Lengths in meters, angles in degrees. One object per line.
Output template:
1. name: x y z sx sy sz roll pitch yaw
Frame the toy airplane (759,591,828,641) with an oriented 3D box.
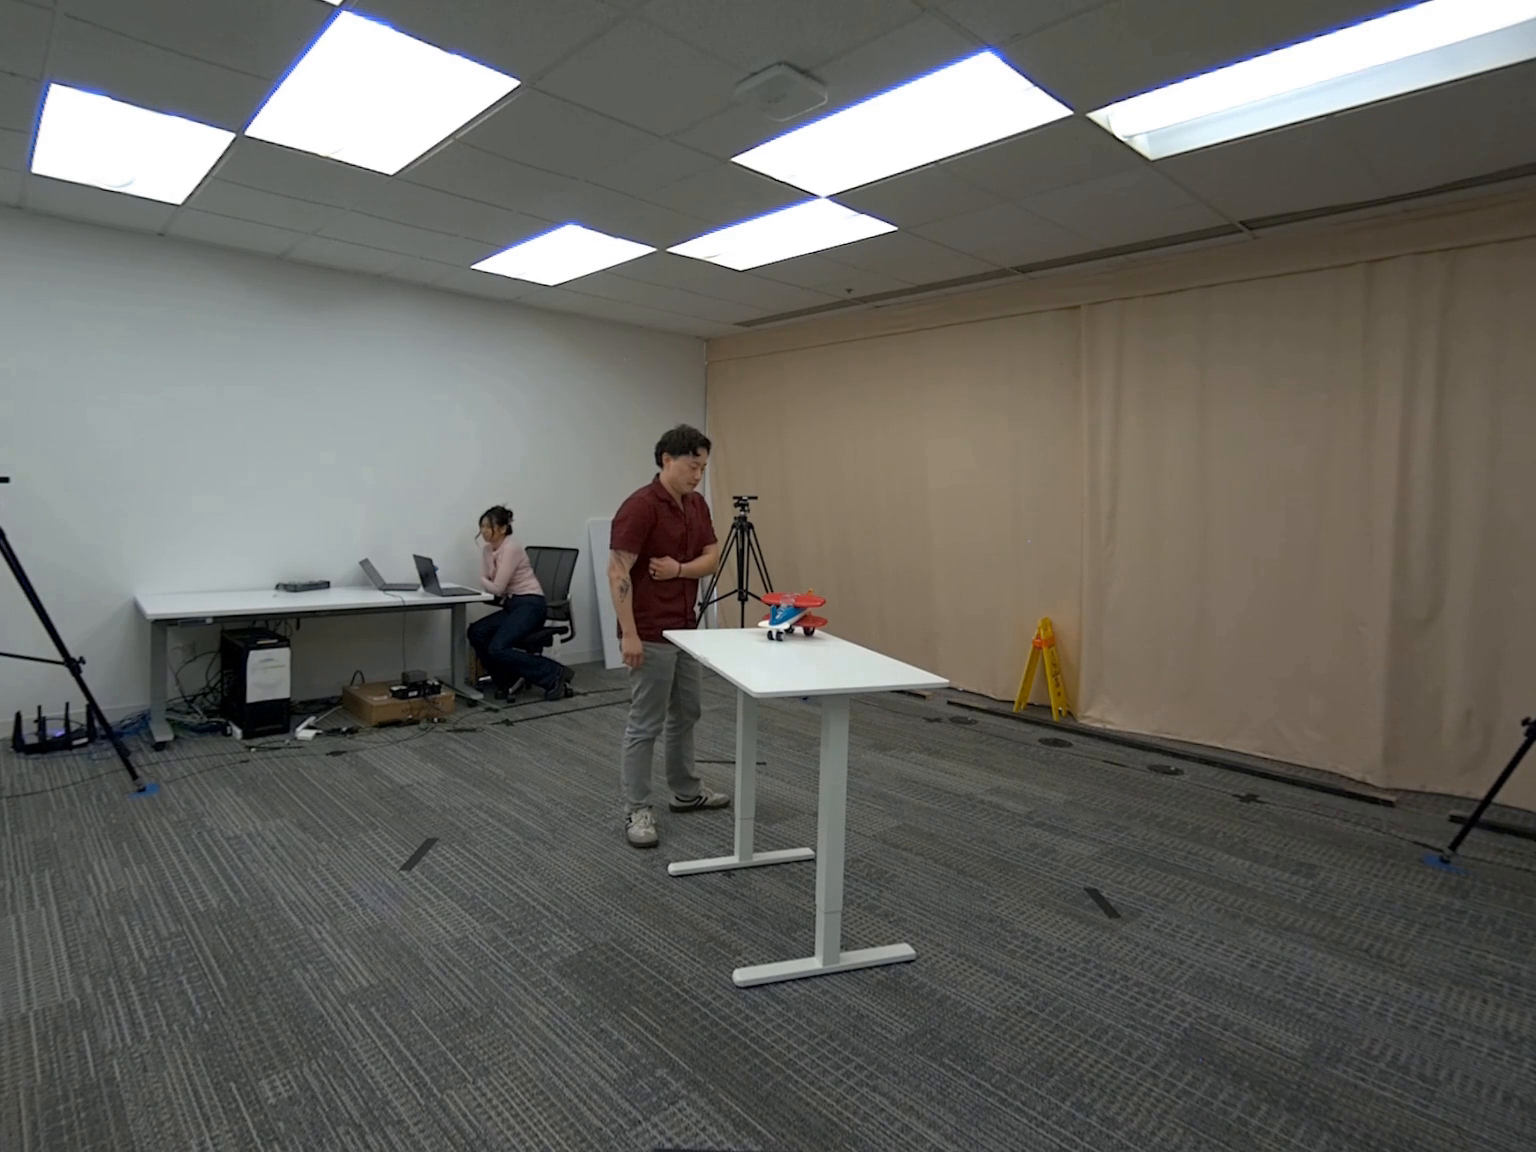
1. toy airplane: 0.091 0.151 3.084 0.252 0.156 0.259 2 5 4
